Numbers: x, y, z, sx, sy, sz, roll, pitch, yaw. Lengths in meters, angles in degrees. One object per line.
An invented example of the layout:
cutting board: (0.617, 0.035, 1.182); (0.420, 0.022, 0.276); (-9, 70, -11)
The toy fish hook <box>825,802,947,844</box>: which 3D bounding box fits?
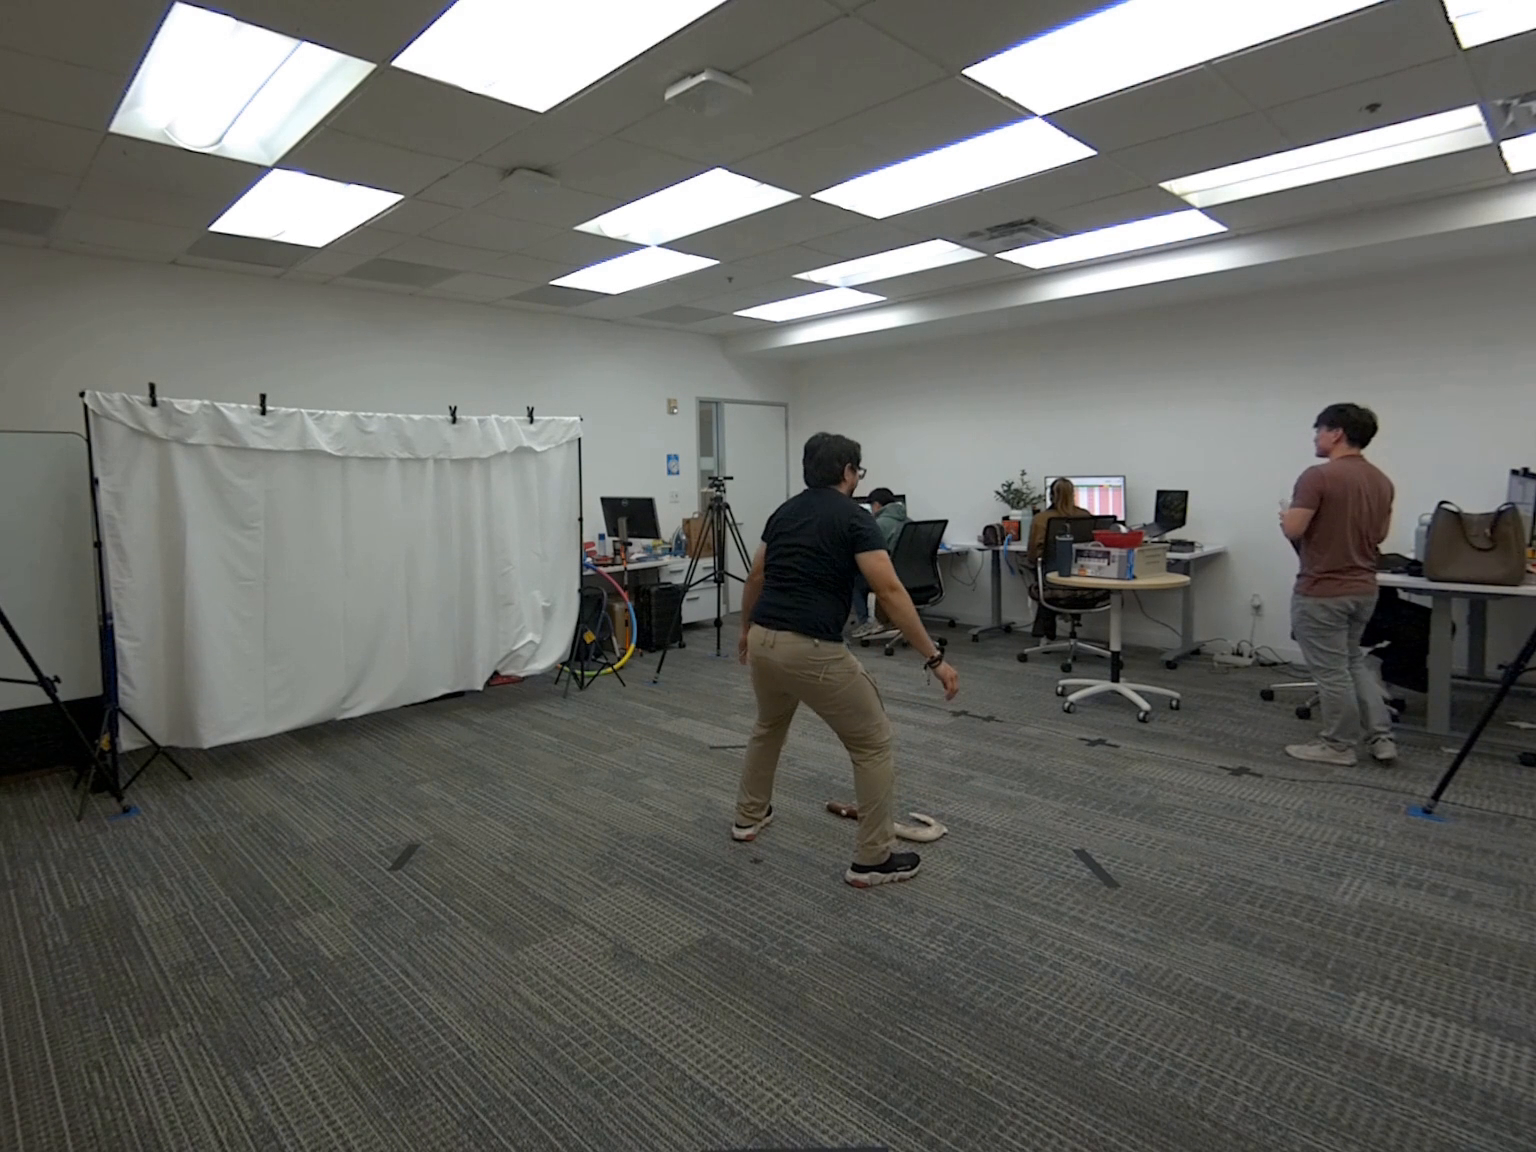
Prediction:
toy fish hook: (0.472, 0.973, 3.435); (0.522, 0.048, 0.218); (6, 4, 42)
